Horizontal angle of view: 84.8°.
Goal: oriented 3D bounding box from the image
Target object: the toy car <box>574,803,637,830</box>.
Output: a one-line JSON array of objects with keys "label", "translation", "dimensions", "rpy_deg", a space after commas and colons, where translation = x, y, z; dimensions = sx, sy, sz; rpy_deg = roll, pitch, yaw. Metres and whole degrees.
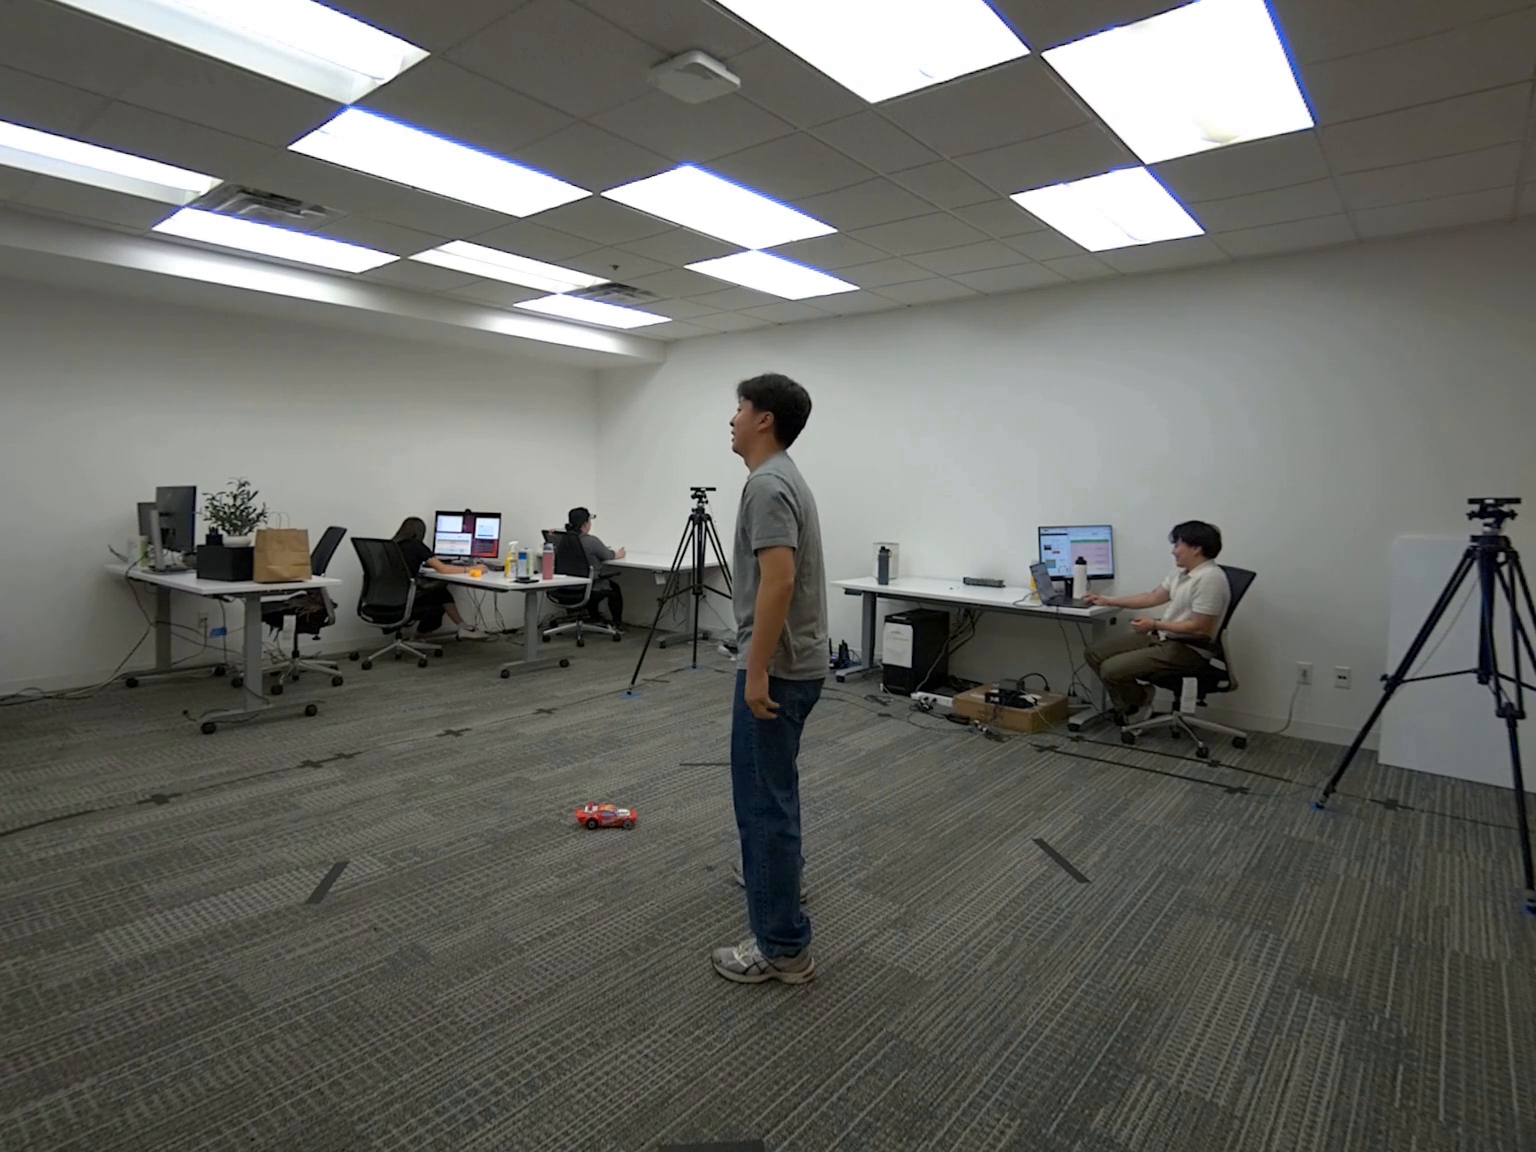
[{"label": "toy car", "translation": [-0.687, 0.989, 3.506], "dimensions": [0.252, 0.083, 0.132], "rpy_deg": [12, 3, -7]}]
